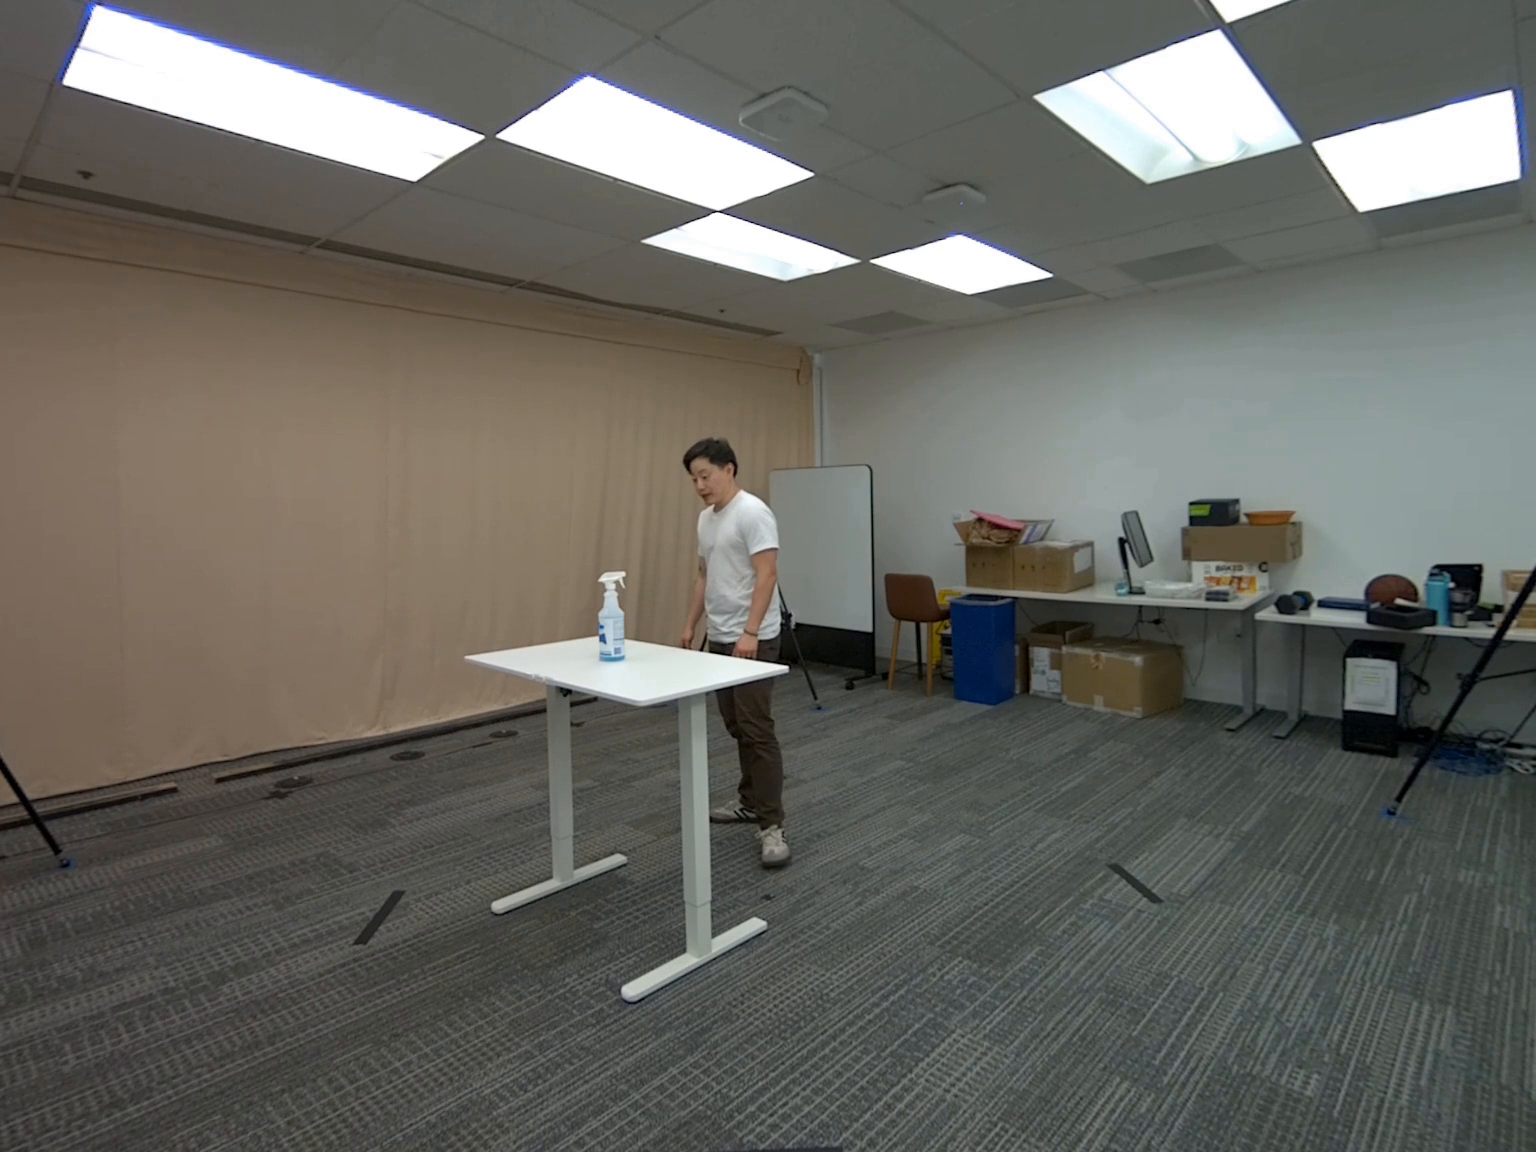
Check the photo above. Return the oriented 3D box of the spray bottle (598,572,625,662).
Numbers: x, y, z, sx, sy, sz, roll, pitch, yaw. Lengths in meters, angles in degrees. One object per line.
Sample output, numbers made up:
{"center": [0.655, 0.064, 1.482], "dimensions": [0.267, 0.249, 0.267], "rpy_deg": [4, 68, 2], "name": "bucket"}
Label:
{"center": [-0.526, 0.137, 2.833], "dimensions": [0.092, 0.297, 0.085], "rpy_deg": [2, 2, 23], "name": "spray bottle"}
